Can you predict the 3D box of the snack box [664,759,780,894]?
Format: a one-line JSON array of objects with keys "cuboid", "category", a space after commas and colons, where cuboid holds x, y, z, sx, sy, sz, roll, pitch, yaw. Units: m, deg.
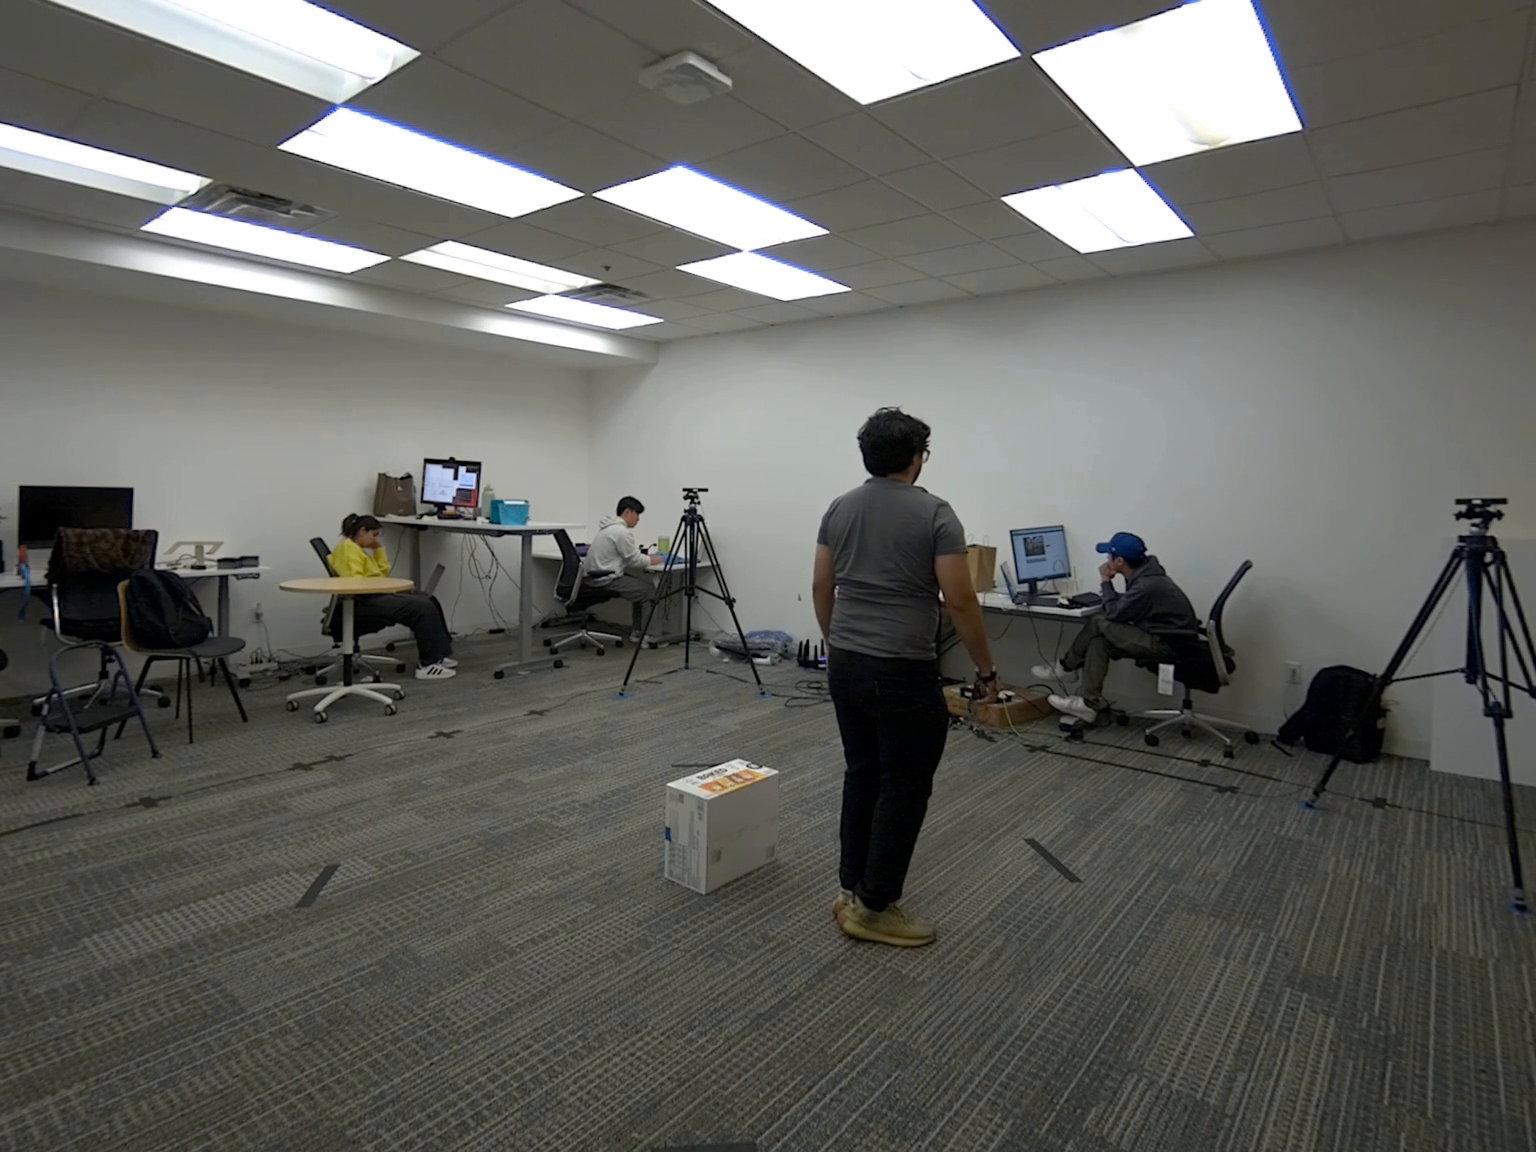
[{"cuboid": [-0.172, 0.900, 3.108, 0.212, 0.339, 0.393, 4, 6, 40], "category": "snack box"}]
